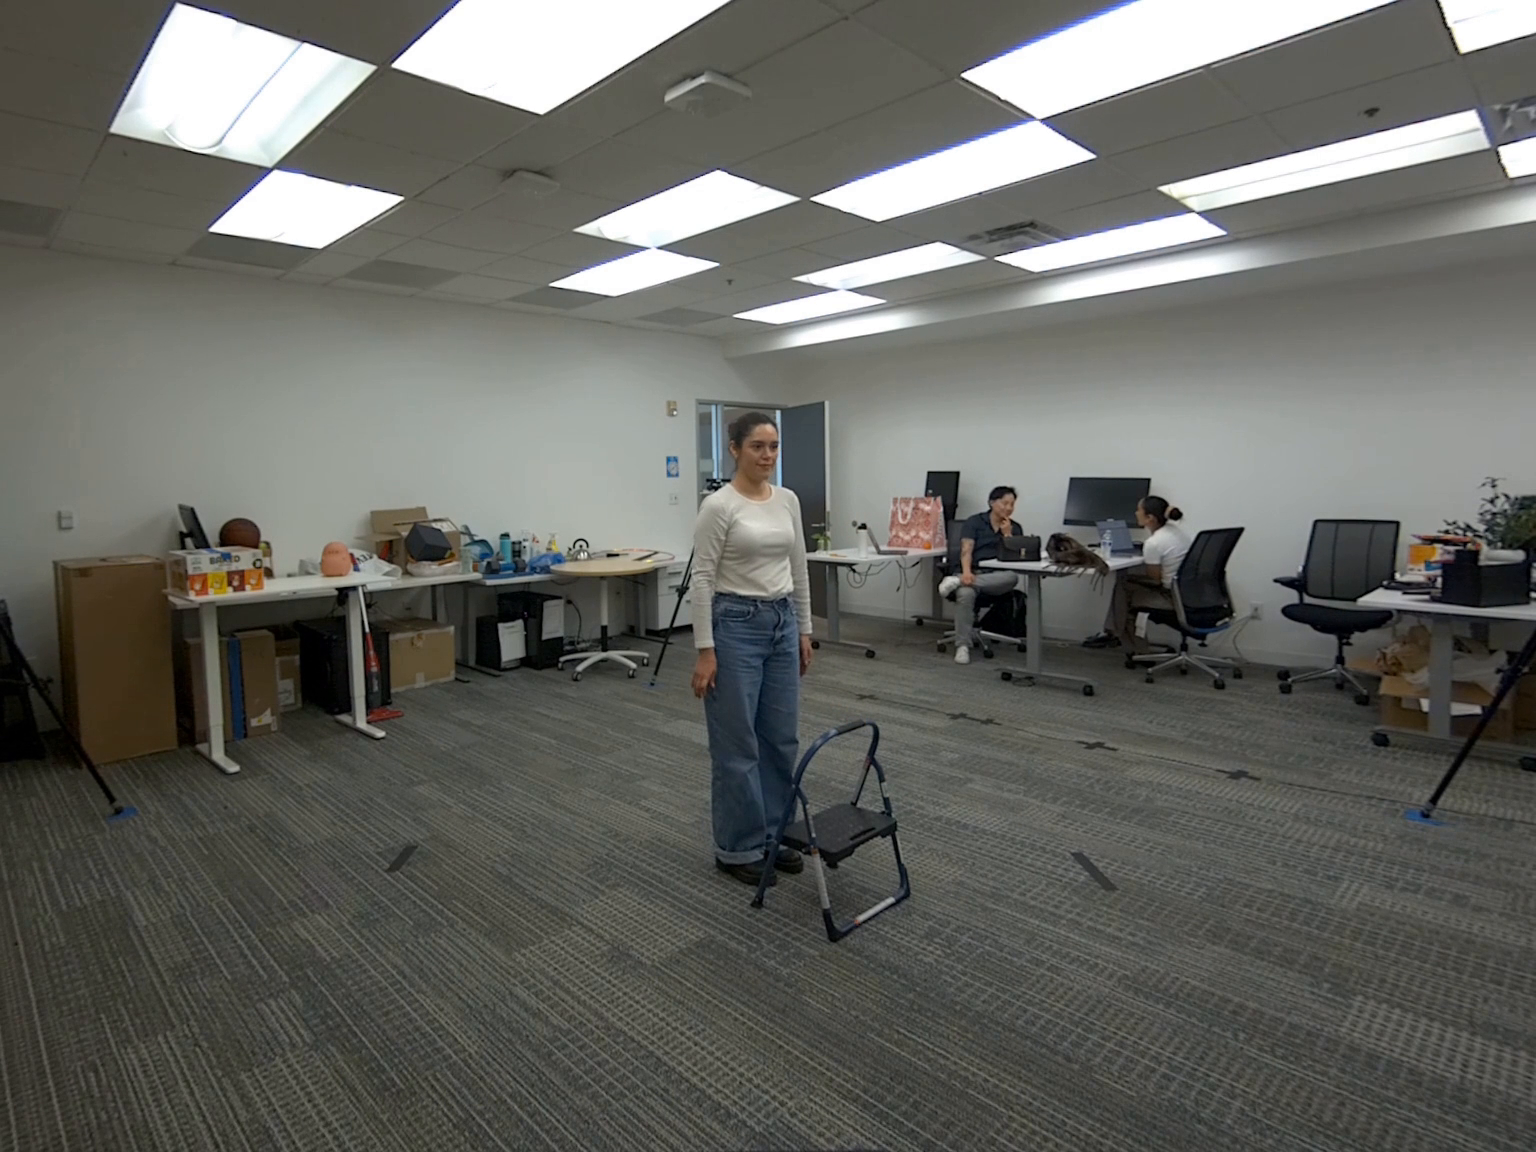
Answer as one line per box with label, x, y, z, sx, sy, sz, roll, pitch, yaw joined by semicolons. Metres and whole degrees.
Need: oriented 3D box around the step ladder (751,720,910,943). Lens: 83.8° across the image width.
step ladder;0.205;0.769;2.806;0.360;0.604;0.419;3;6;44
